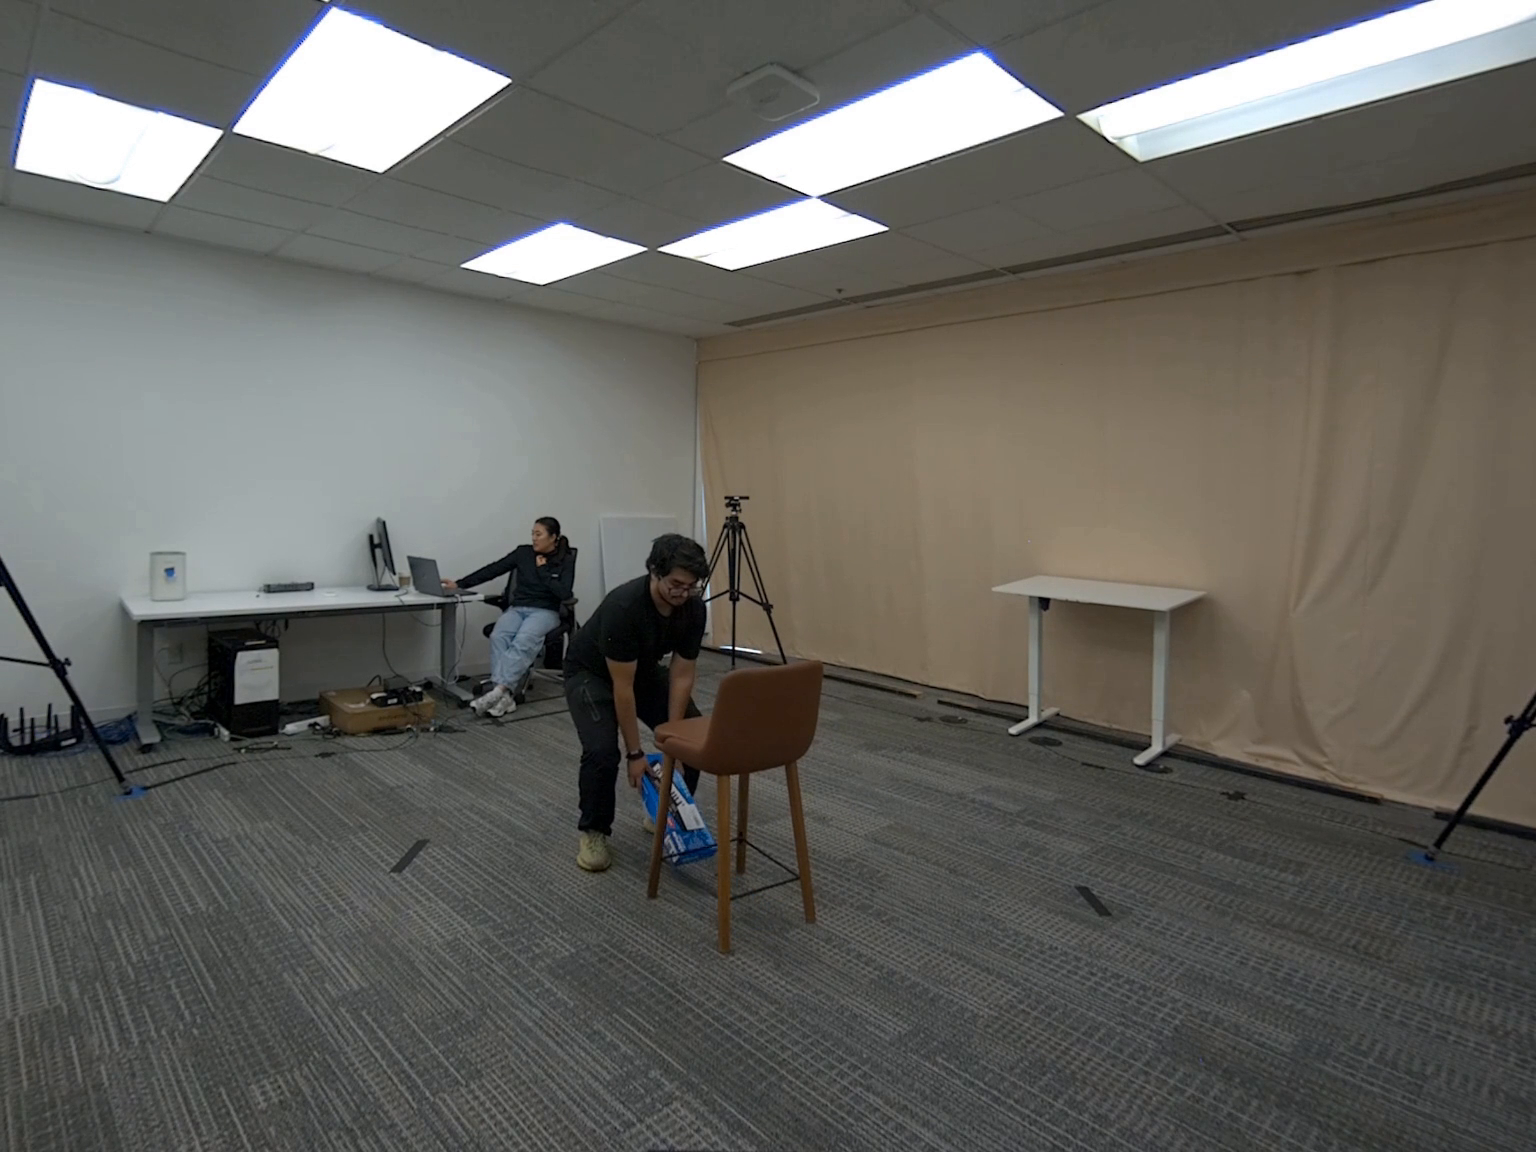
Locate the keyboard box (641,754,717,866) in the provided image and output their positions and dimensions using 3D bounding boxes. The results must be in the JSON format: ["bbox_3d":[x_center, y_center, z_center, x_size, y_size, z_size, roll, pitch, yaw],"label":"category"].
[{"bbox_3d":[-0.363,0.866,3.131,0.171,0.059,0.450,3,39,-40],"label":"keyboard box"}]
